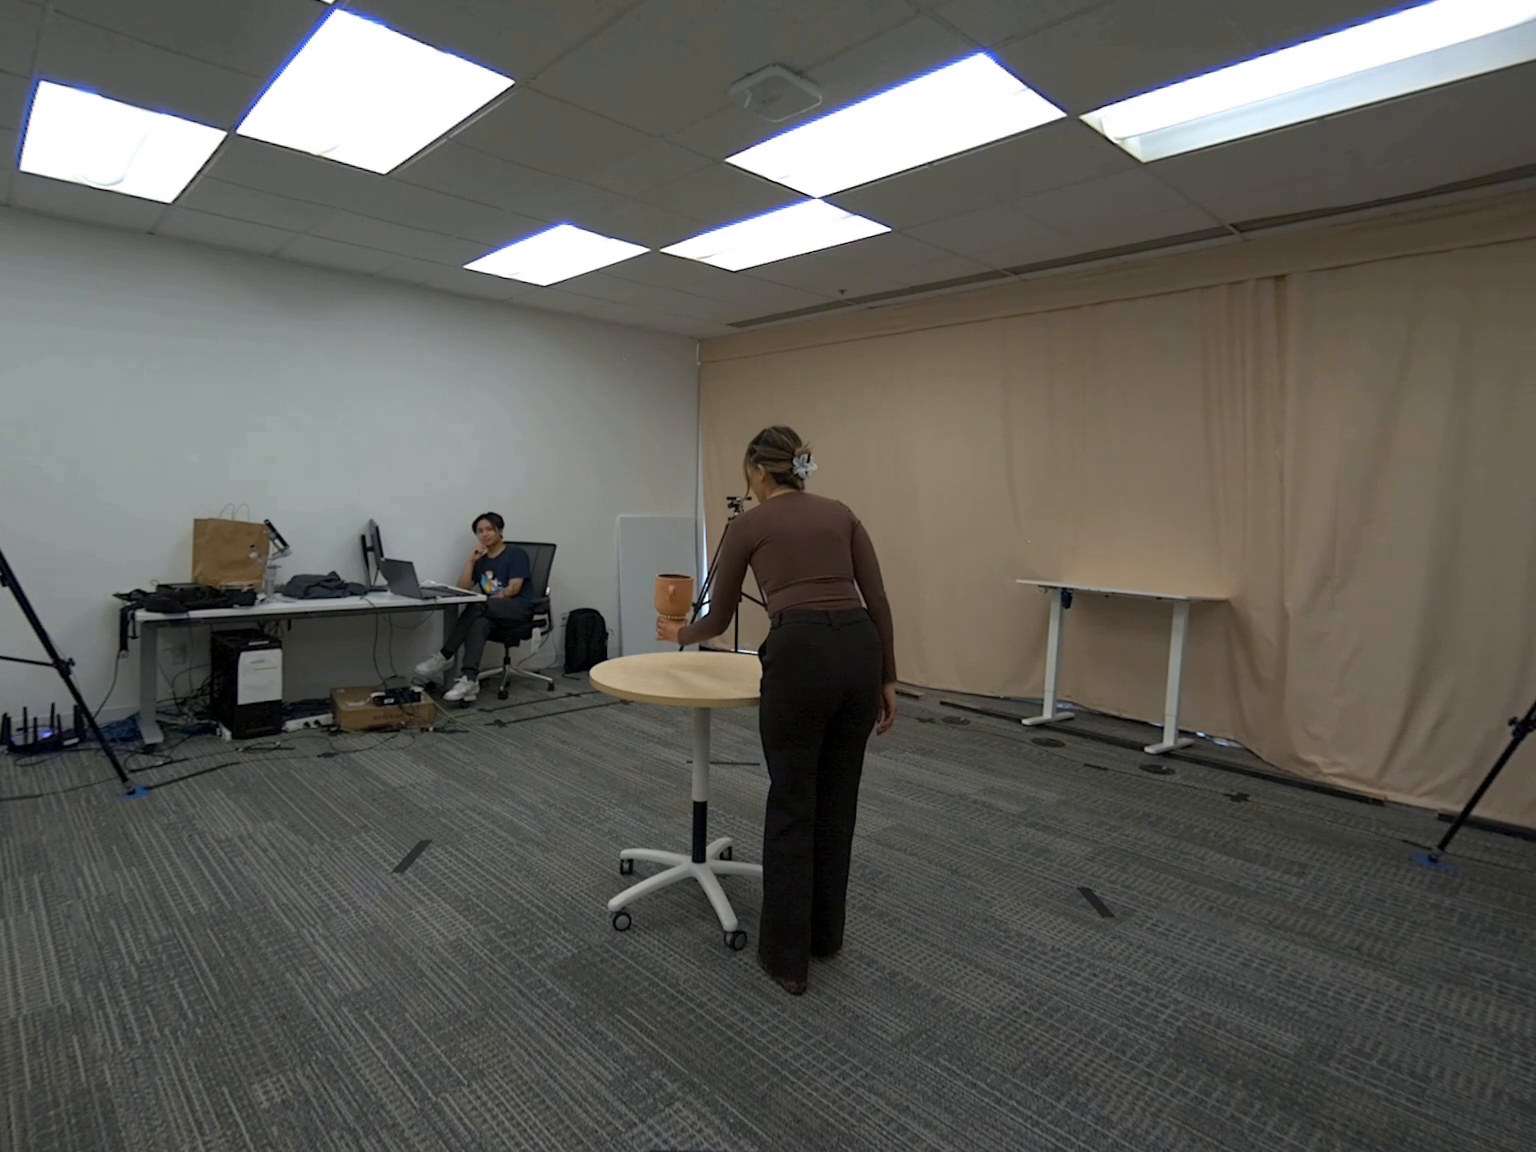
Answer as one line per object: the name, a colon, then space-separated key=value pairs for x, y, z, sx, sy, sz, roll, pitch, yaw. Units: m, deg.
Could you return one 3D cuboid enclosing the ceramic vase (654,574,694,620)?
ceramic vase: x=-0.349 y=0.110 z=2.935 sx=0.138 sy=0.219 sz=0.155 roll=10 pitch=9 yaw=42
